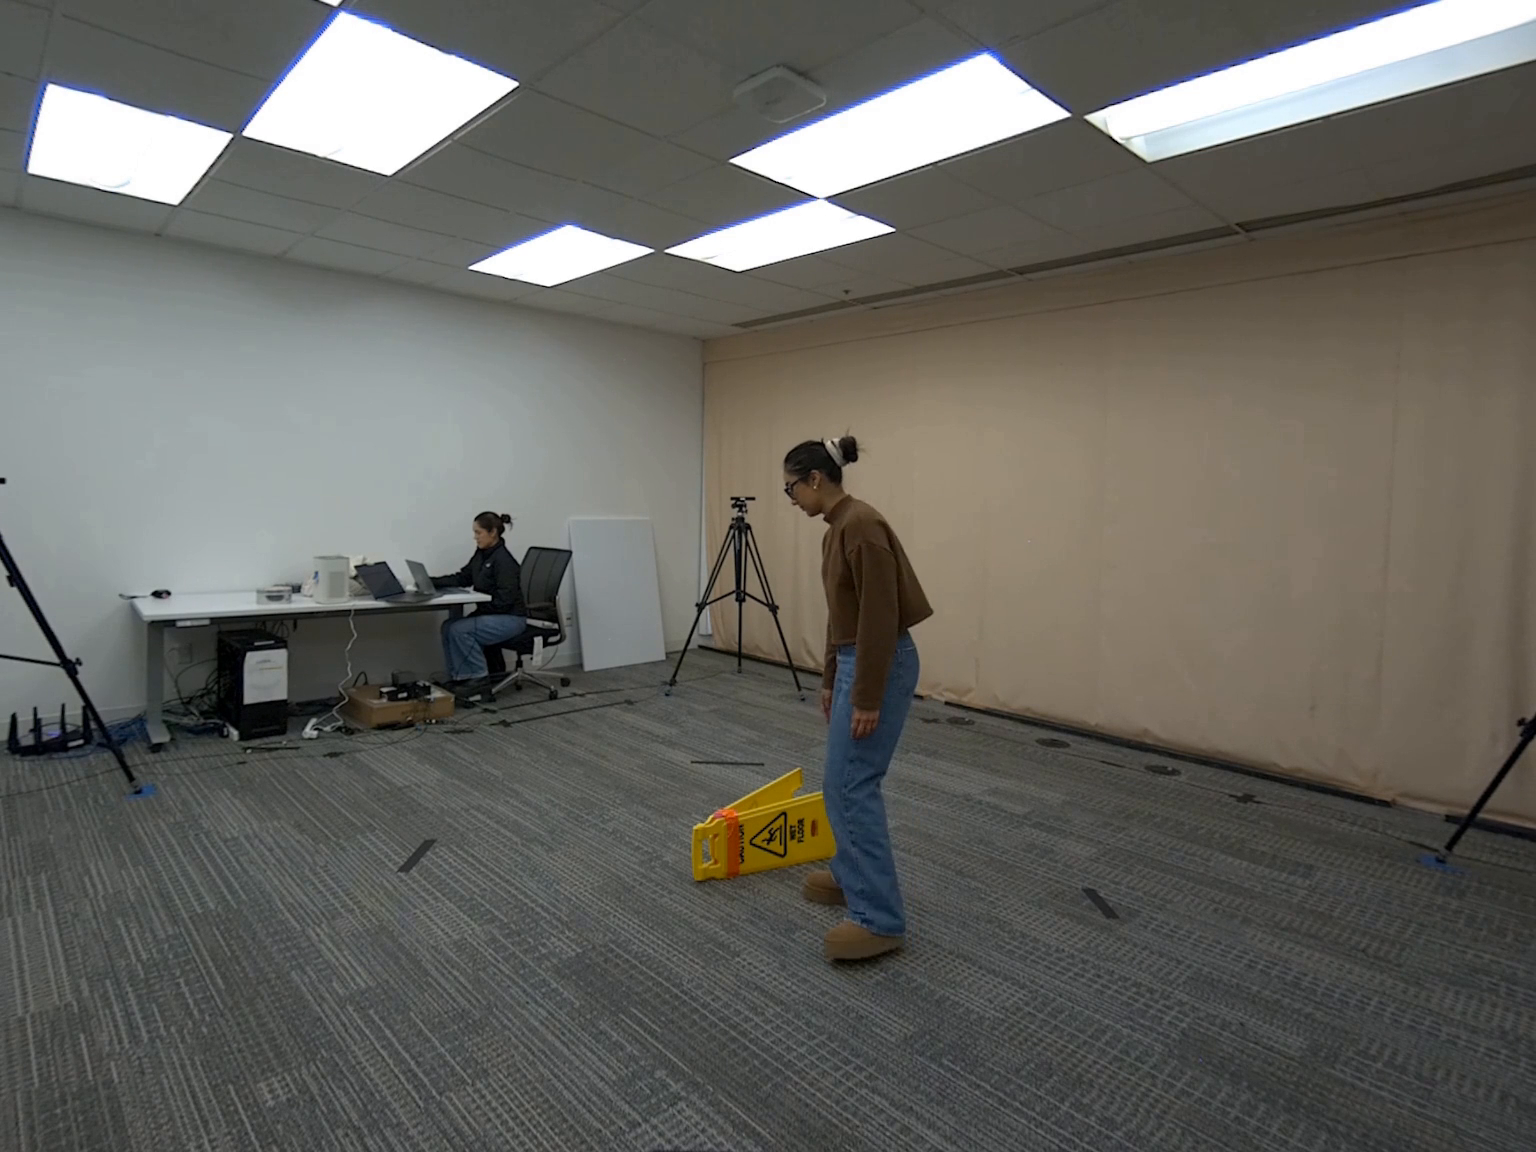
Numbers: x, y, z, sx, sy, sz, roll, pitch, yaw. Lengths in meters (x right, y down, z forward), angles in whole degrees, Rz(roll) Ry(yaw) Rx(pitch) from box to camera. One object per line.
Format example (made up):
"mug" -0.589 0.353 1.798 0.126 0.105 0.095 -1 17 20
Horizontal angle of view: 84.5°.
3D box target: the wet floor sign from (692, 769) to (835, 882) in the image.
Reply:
"wet floor sign" -0.021 0.973 3.216 0.632 0.281 0.297 -6 7 -39
